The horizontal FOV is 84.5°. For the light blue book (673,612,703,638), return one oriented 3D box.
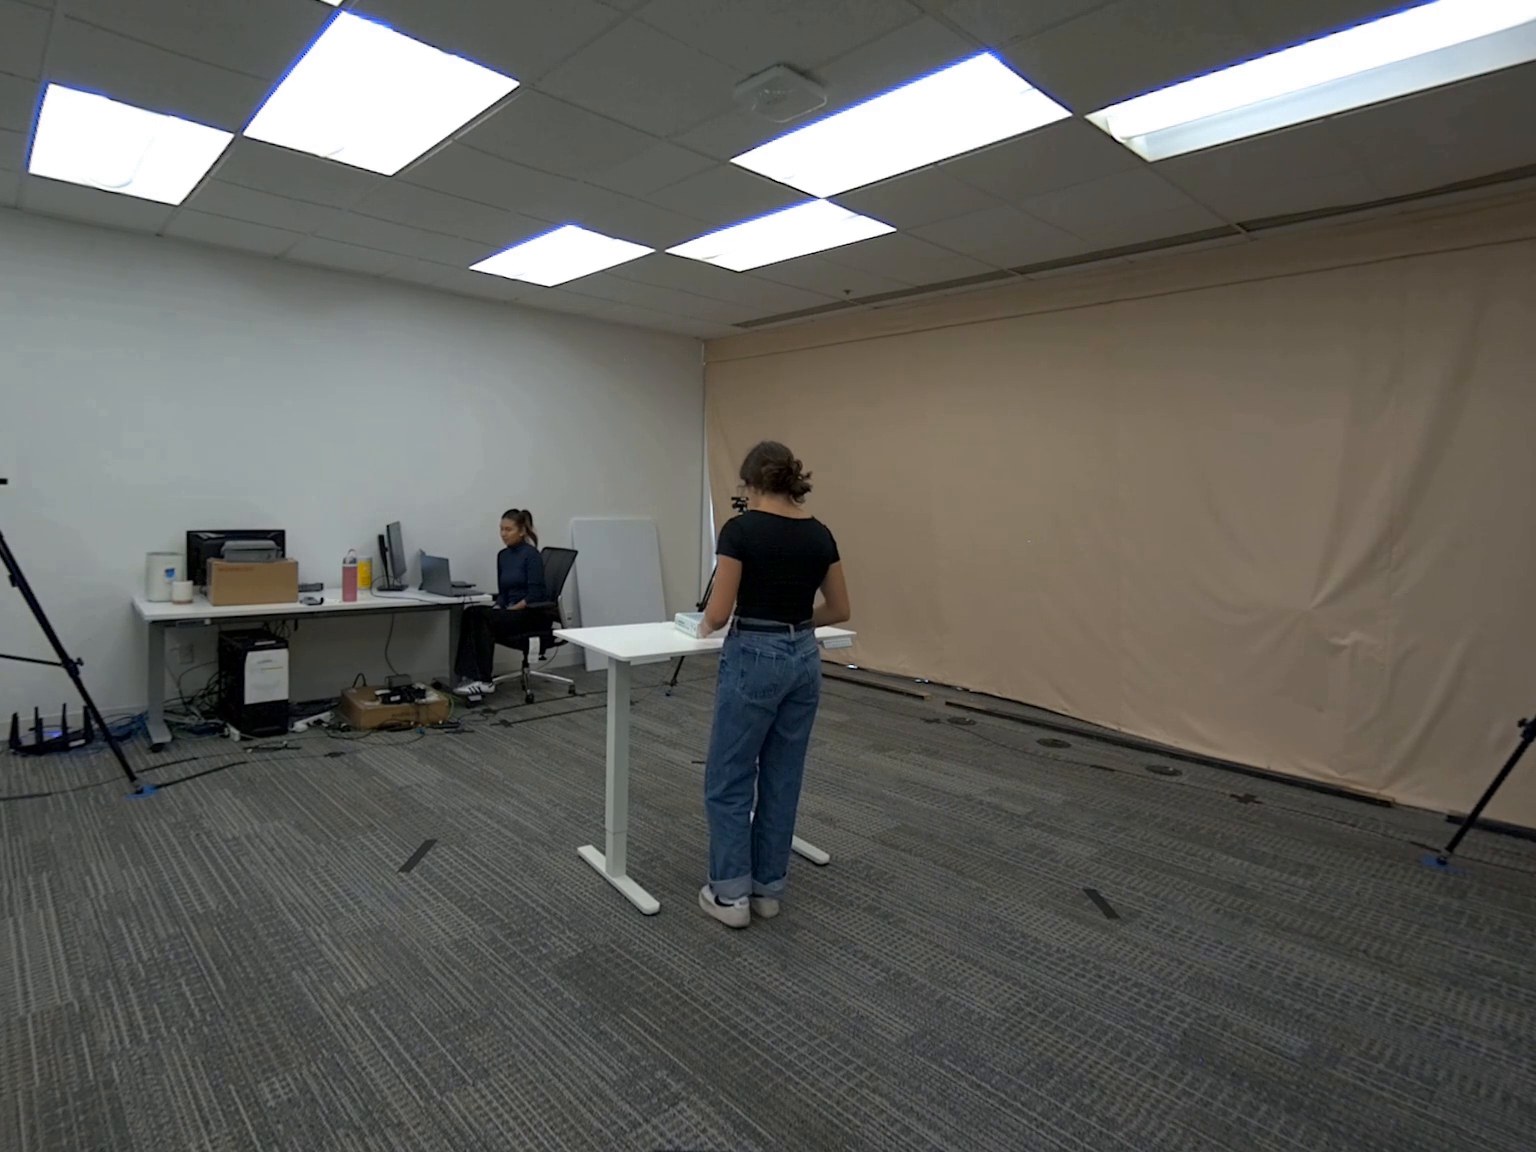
[{"bbox_3d":[-0.225,0.186,3.206,0.188,0.059,0.266,-2,6,-24],"label":"light blue book"}]
